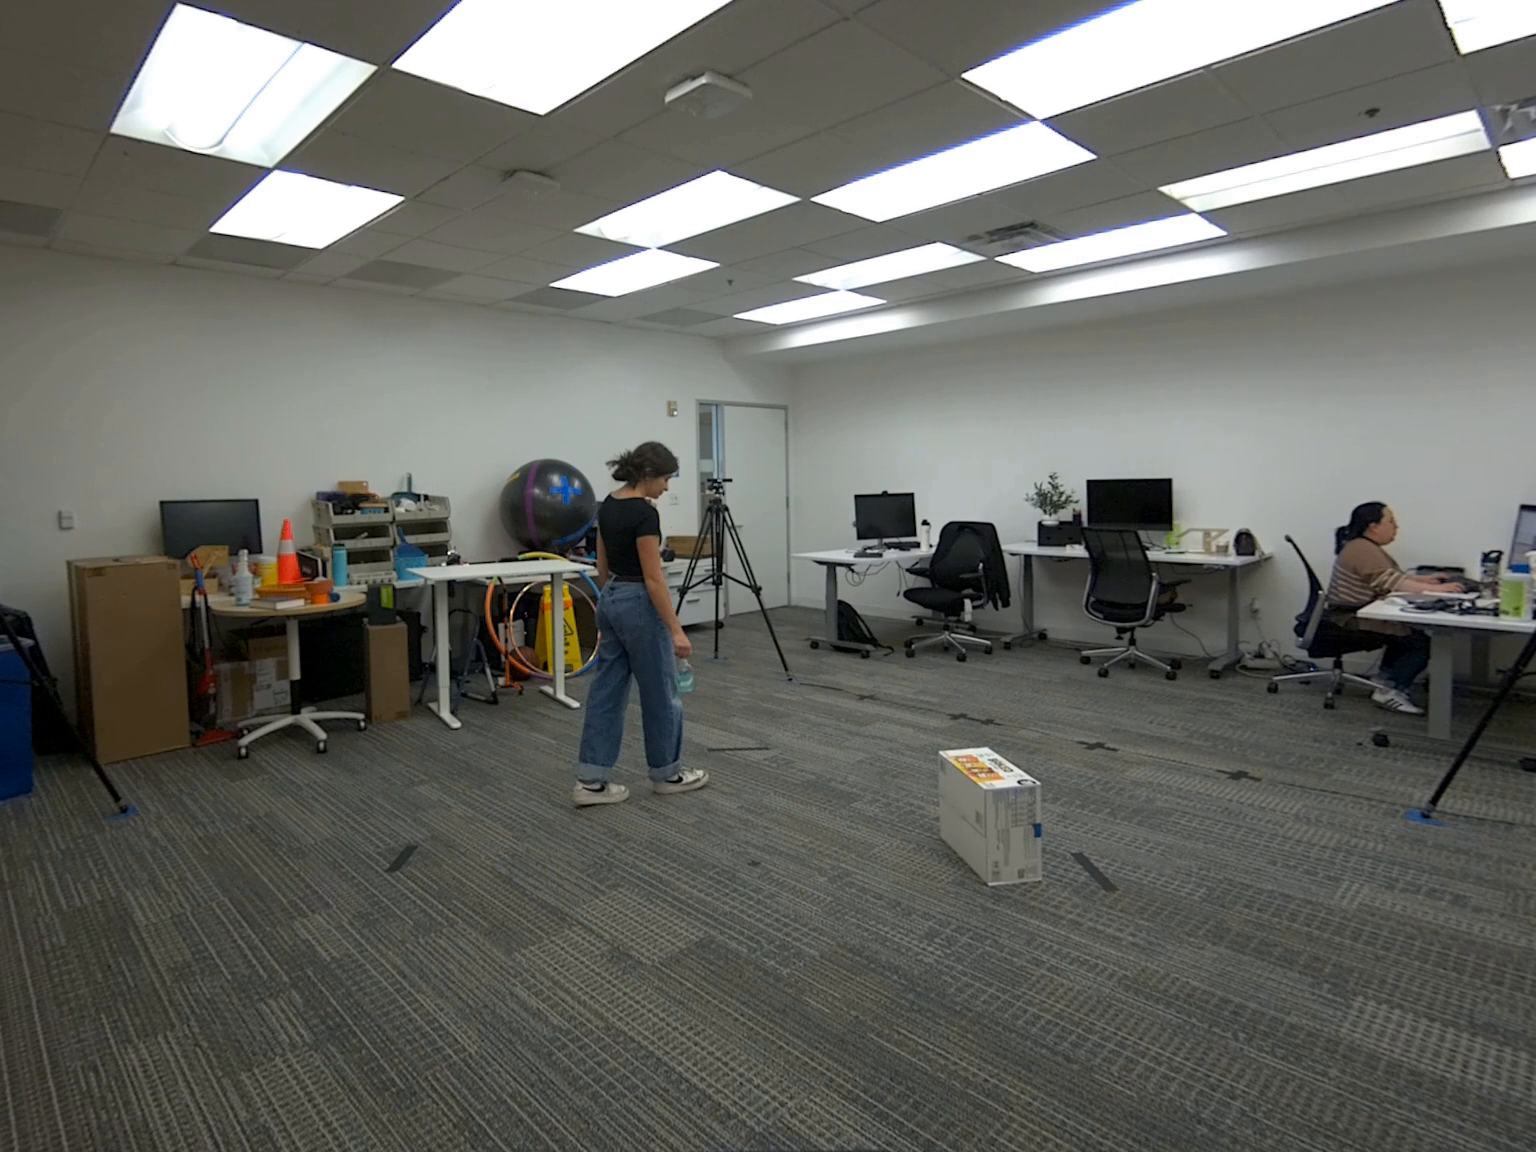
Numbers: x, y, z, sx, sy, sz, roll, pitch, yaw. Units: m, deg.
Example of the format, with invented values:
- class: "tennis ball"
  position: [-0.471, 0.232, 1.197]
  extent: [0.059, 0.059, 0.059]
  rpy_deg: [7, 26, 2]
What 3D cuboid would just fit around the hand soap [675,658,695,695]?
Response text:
- class: "hand soap"
  position: [-0.355, 0.398, 3.604]
  extent: [0.084, 0.168, 0.044]
  rpy_deg: [-4, 3, -10]
